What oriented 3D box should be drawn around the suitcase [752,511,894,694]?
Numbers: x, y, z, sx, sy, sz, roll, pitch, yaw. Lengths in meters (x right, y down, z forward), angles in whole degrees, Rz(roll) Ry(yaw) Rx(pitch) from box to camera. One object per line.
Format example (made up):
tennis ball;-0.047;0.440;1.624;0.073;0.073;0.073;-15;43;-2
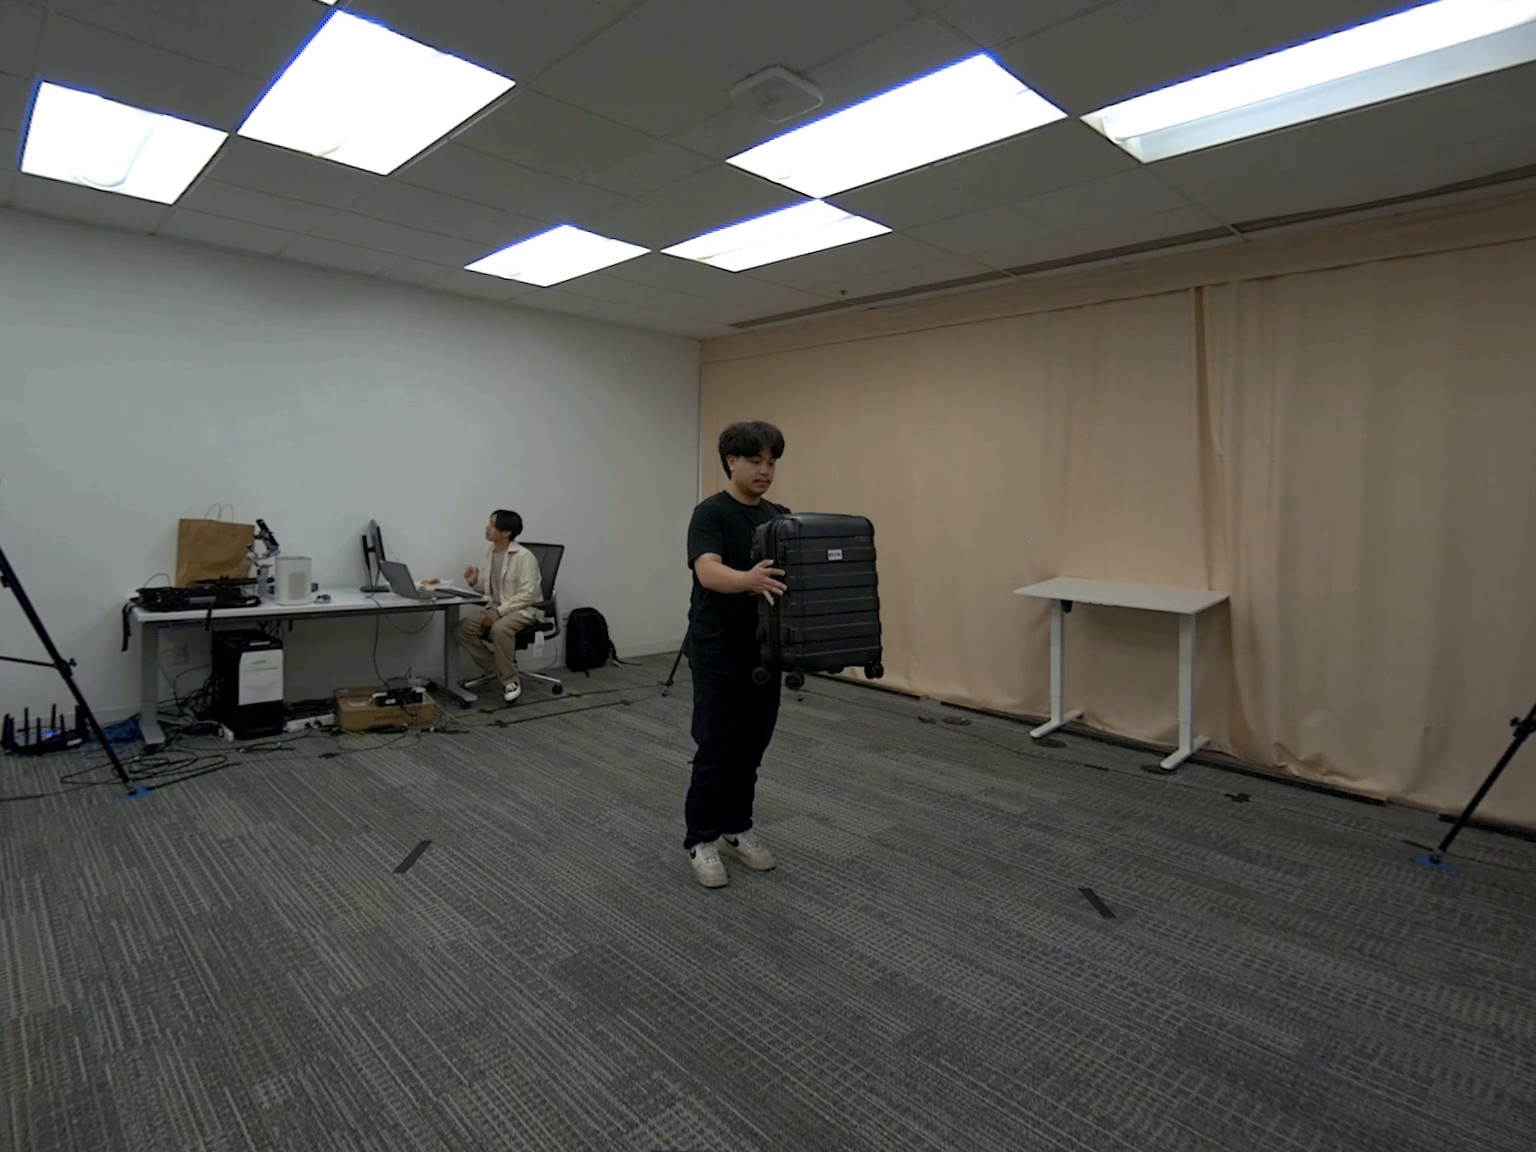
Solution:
suitcase;0.167;0.071;2.754;0.368;0.550;0.253;-2;-1;-31
